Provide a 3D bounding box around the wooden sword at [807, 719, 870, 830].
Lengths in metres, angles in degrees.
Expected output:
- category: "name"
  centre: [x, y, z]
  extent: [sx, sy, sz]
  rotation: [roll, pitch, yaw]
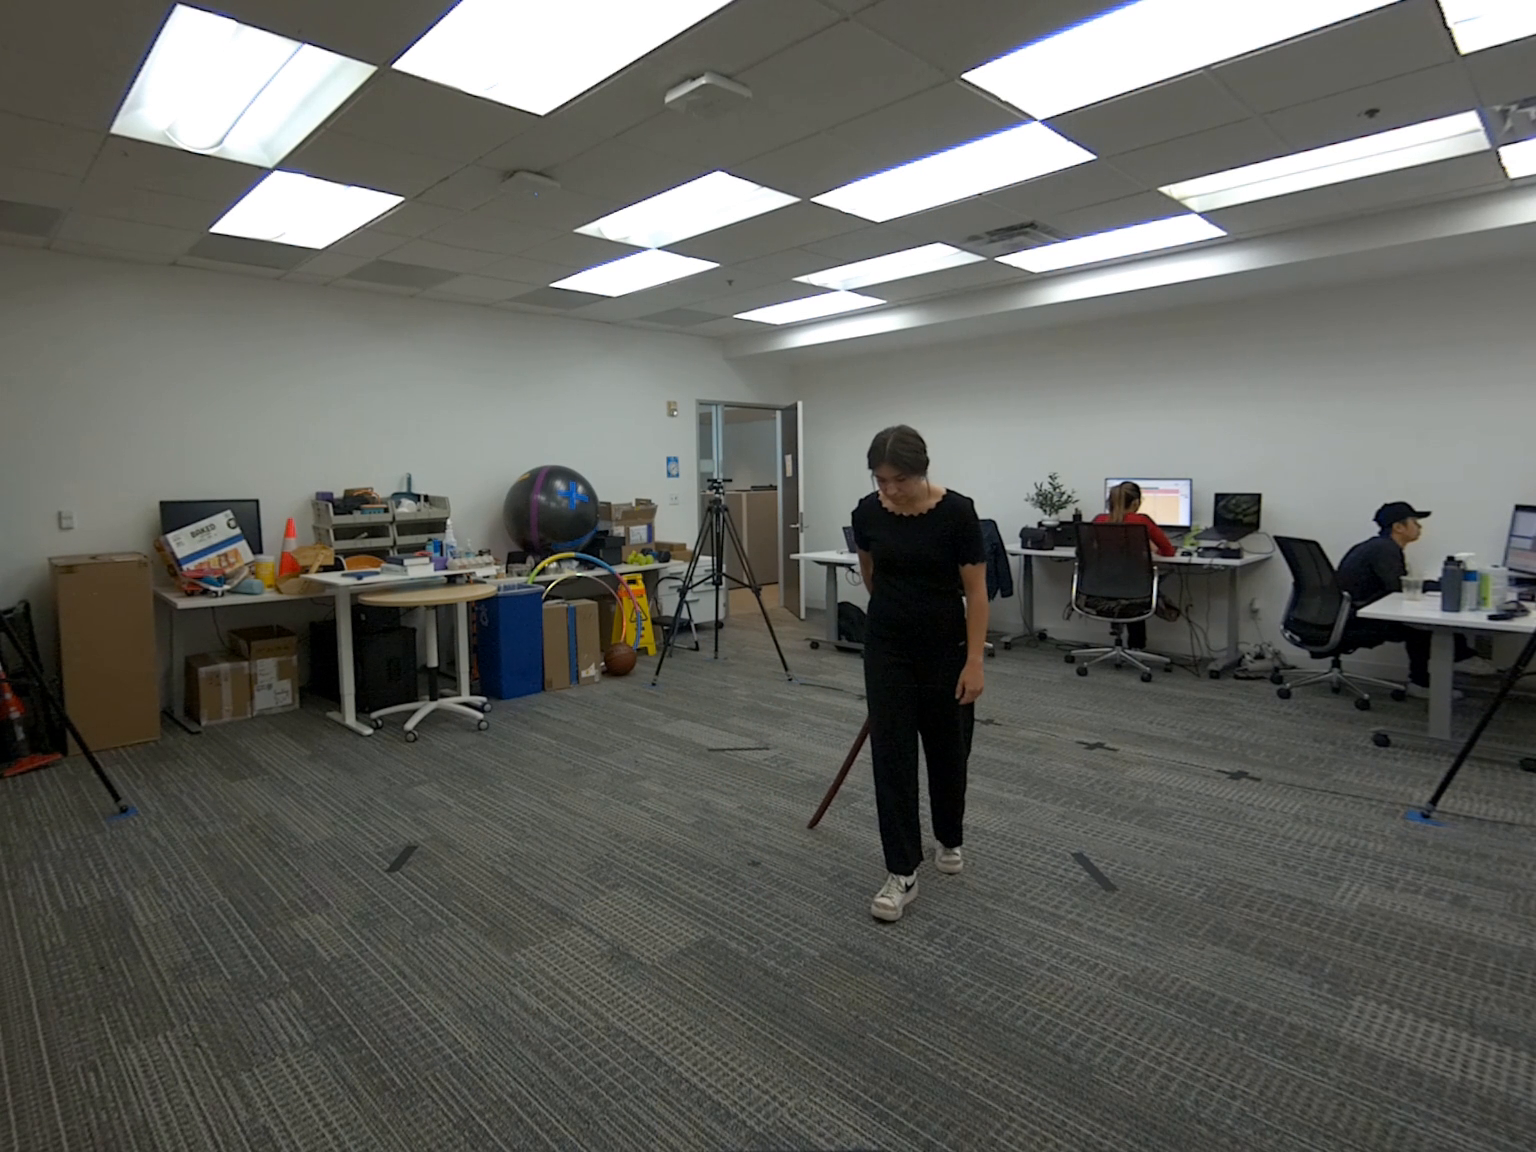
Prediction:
- category: "wooden sword"
  centre: [0.378, 0.577, 3.251]
  extent: [0.025, 1.017, 0.050]
  rotation: [38, 21, 34]
